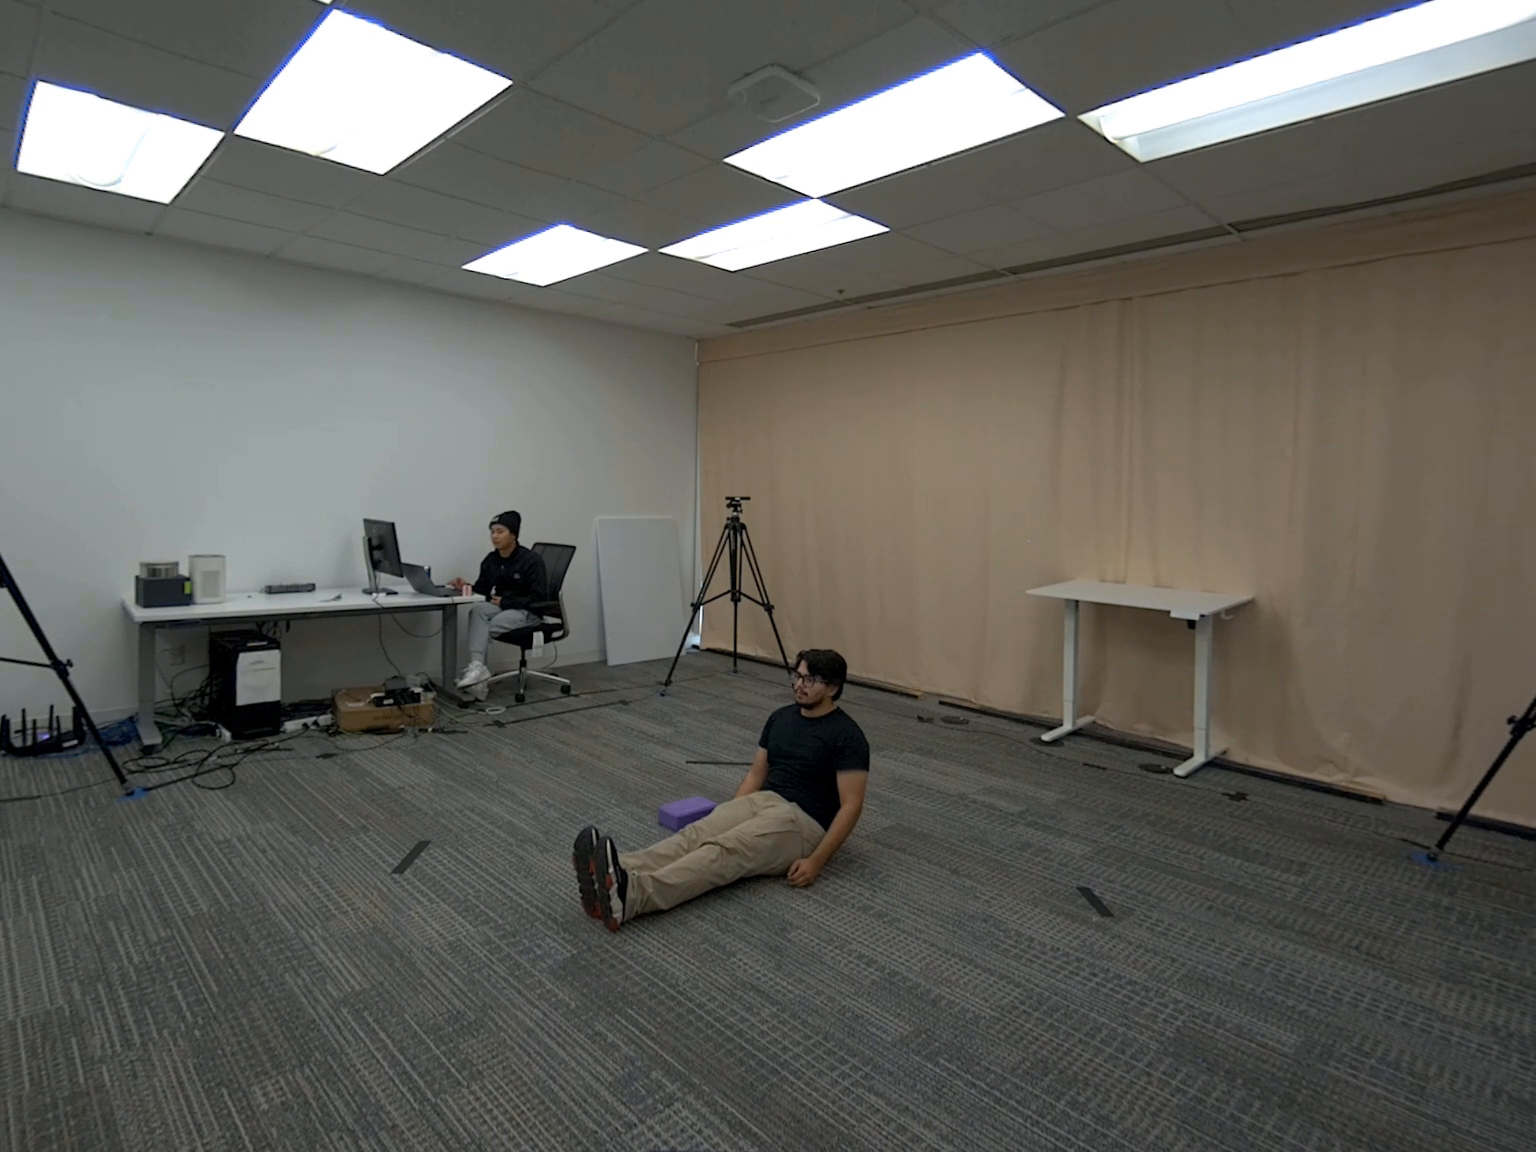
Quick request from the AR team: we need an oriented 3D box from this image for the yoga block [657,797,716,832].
[{"bbox_3d":[-0.345,1.014,3.611,0.224,0.076,0.153,-5,6,-42],"label":"yoga block"}]
